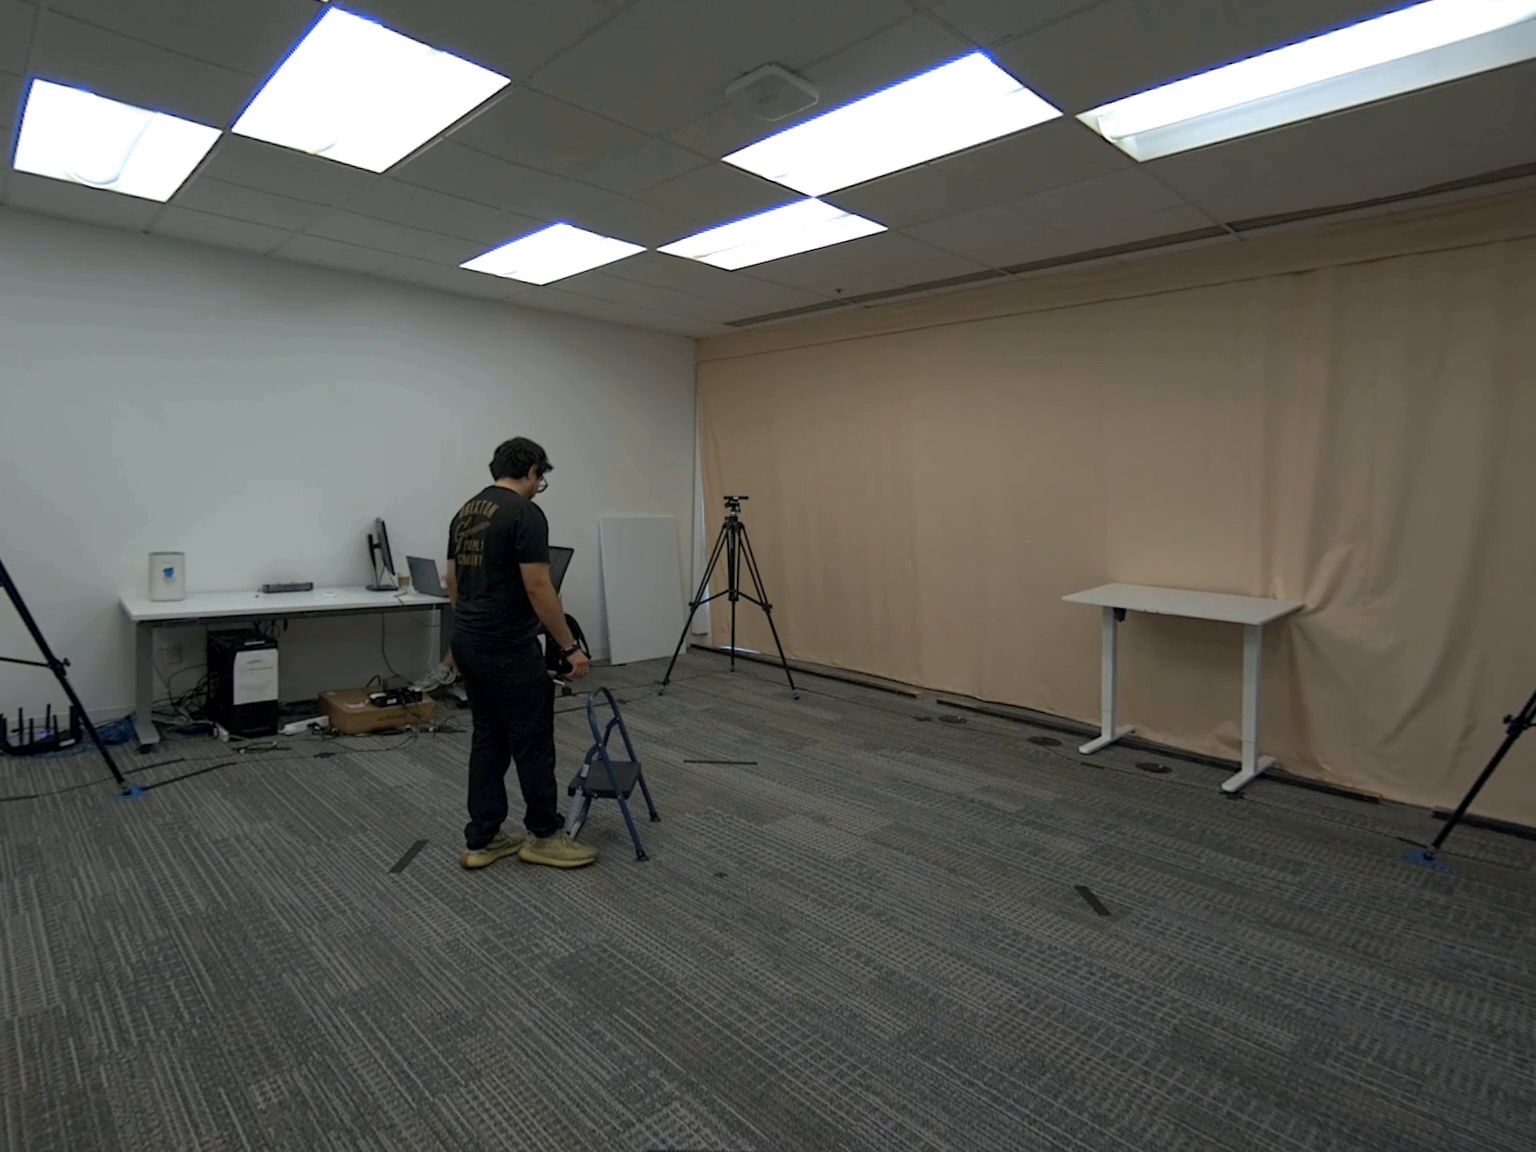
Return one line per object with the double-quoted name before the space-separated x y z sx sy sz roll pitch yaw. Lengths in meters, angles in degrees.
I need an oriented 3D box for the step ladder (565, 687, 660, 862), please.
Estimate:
"step ladder" -0.633 0.764 3.416 0.349 0.604 0.432 2 4 -1
